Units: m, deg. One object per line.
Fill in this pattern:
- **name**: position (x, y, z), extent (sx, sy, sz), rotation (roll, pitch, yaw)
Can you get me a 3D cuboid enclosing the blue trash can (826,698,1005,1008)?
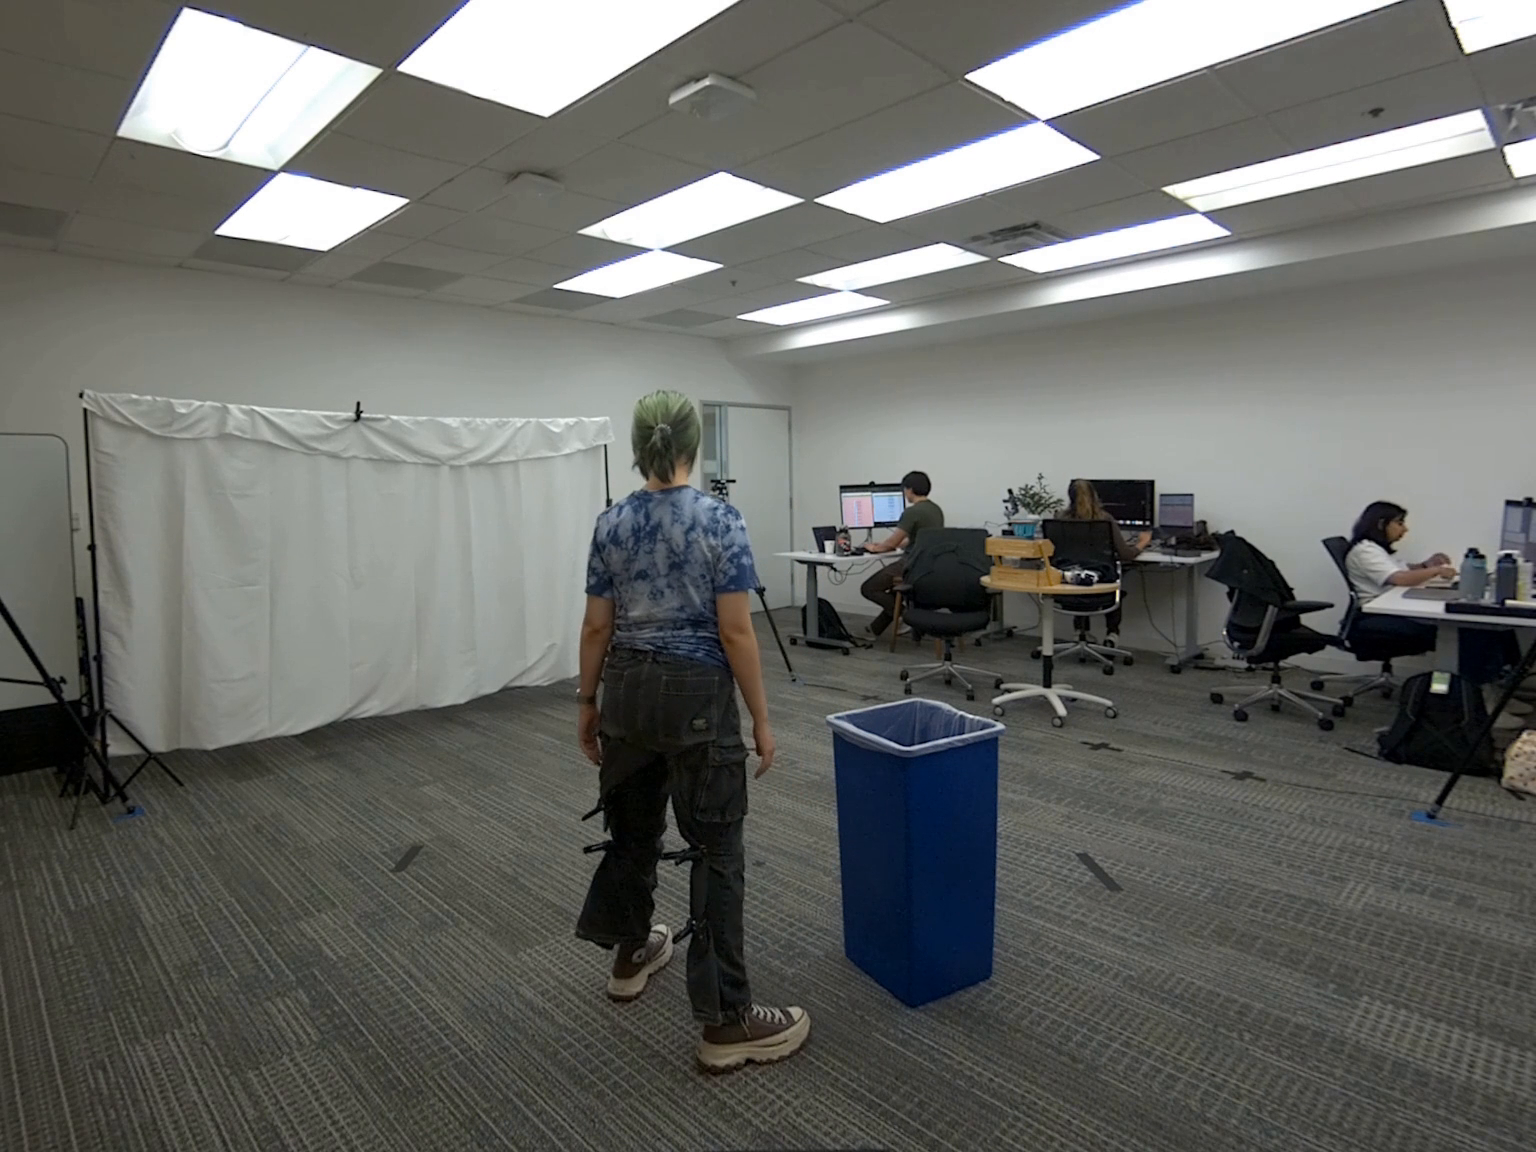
- **blue trash can**: position (0.419, 0.763, 2.411), extent (0.365, 0.711, 0.388), rotation (-4, 5, -31)
